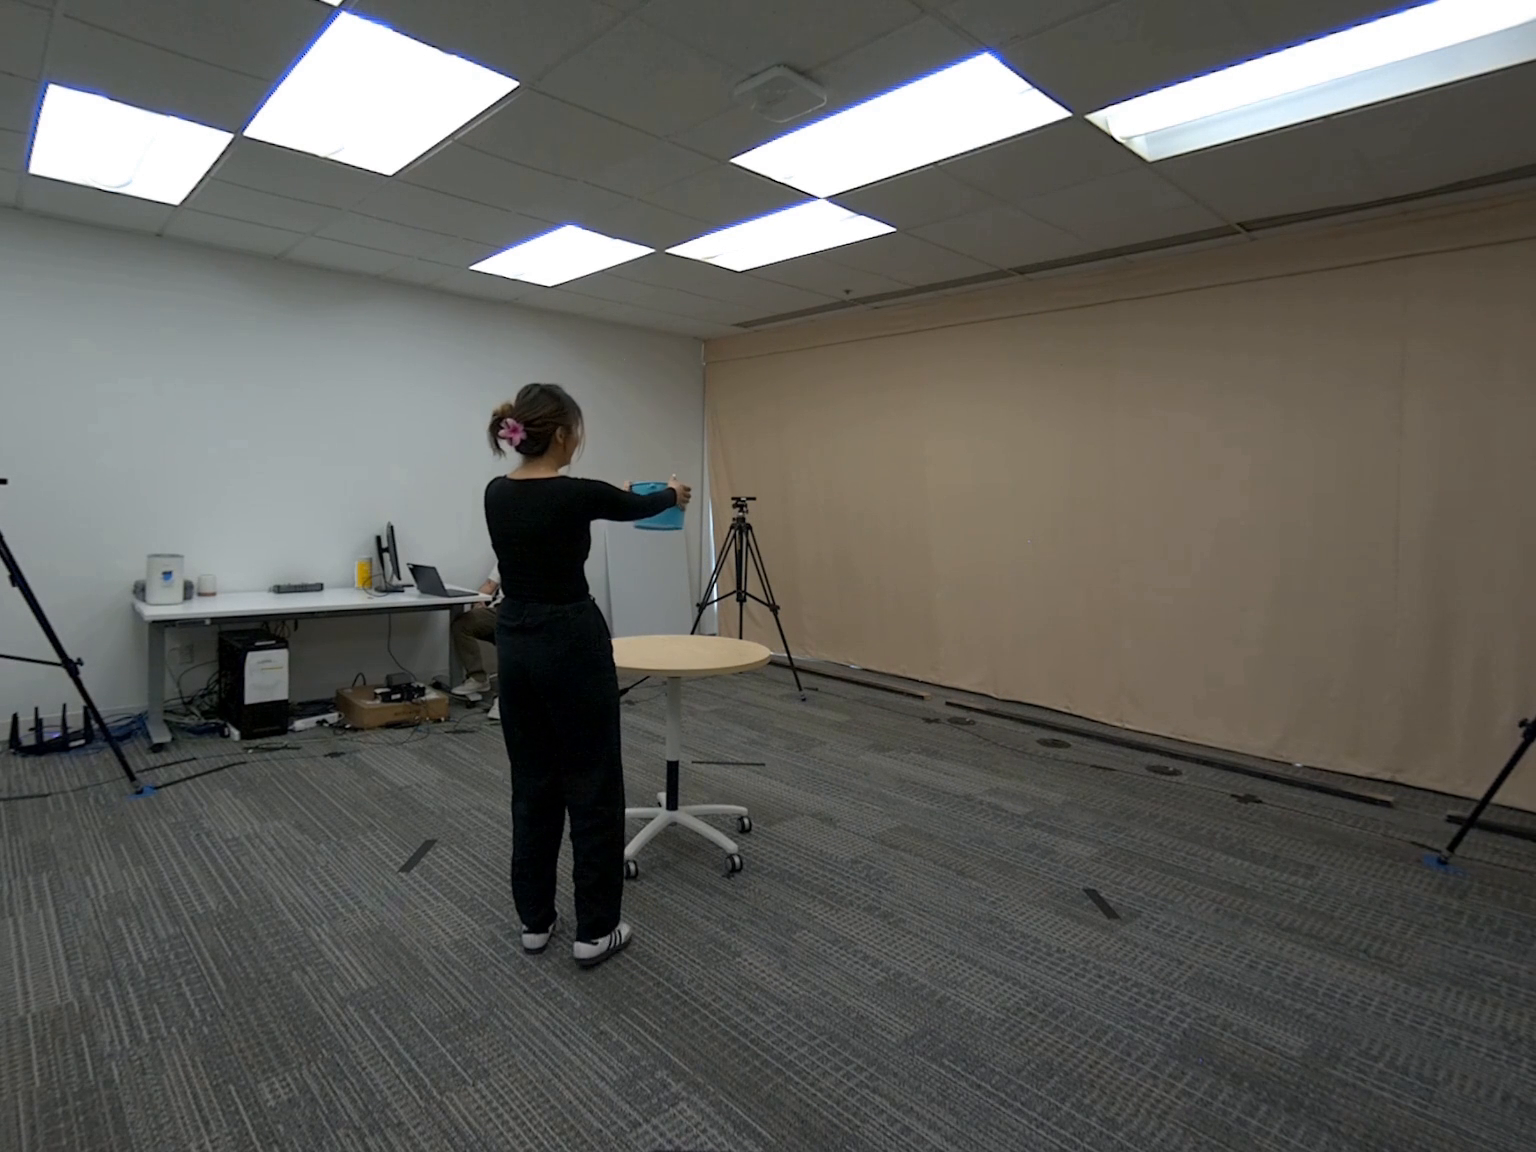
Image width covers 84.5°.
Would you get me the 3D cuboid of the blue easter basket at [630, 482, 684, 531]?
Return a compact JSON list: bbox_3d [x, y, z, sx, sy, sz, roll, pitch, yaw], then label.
[{"bbox_3d":[-0.425,-0.257,3.121,0.243,0.156,0.243,2,-2,-1],"label":"blue easter basket"}]
